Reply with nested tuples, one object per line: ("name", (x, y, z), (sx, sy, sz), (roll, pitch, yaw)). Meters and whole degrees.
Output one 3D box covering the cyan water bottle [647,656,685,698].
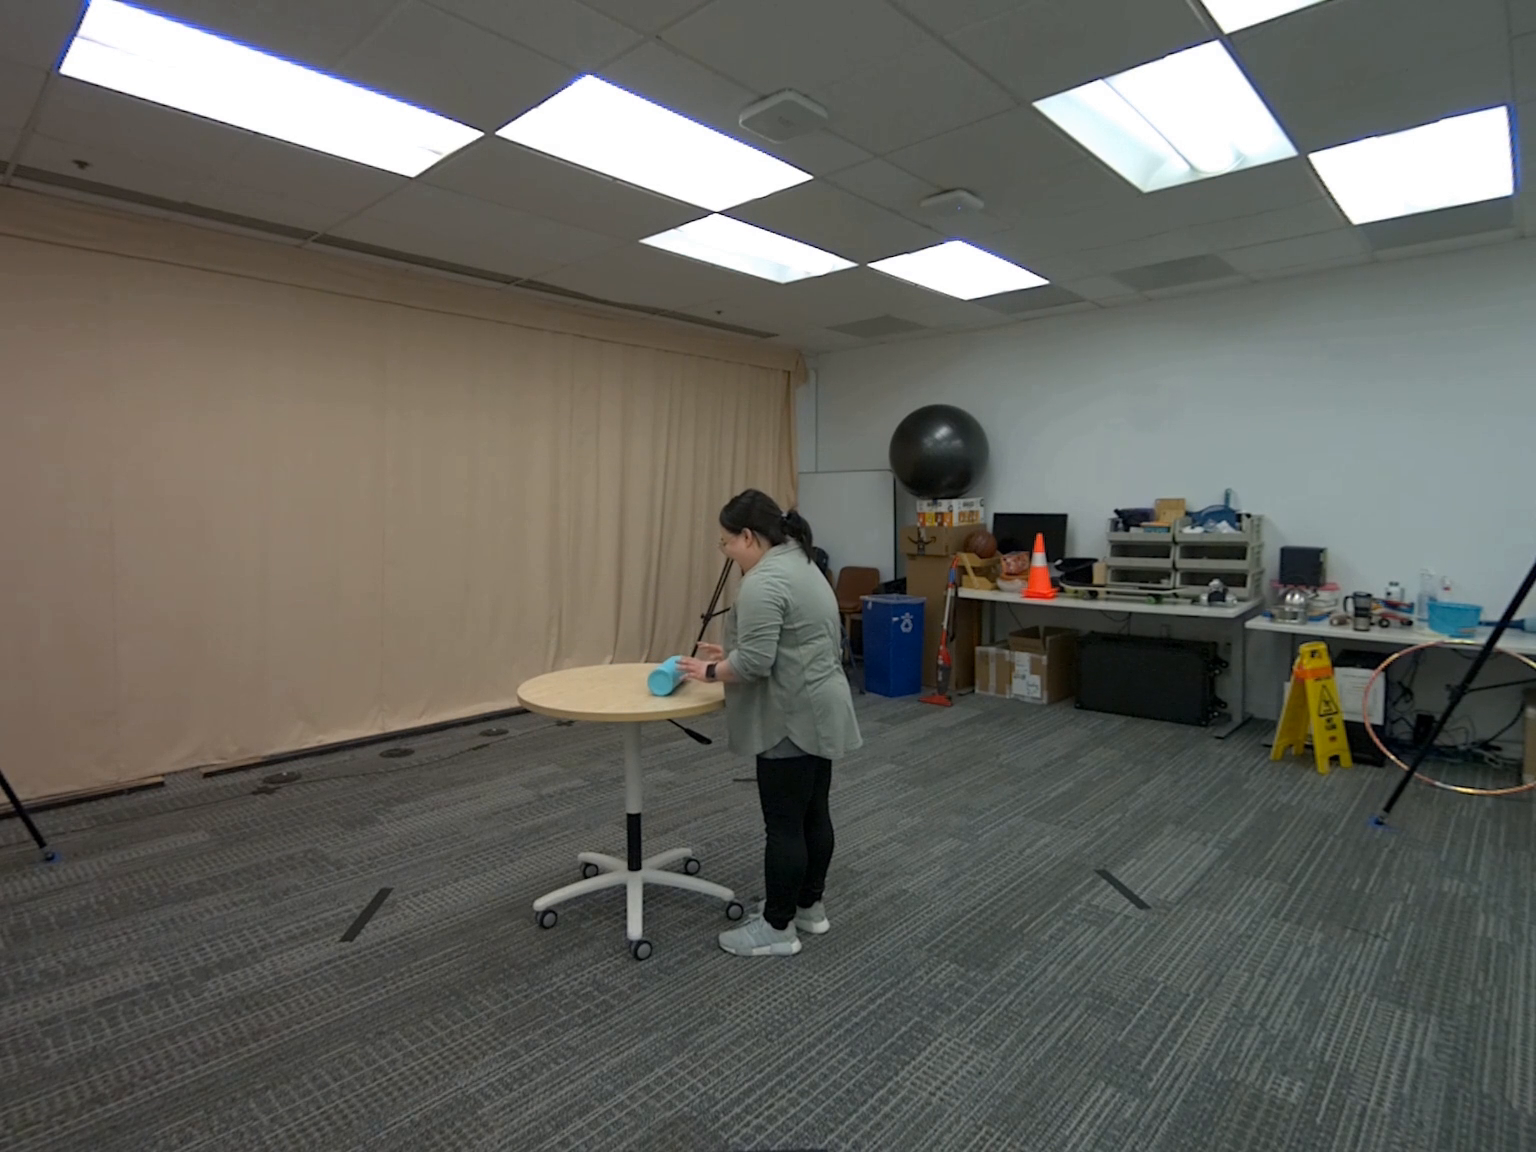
("cyan water bottle", (-0.325, 0.333, 2.833), (0.093, 0.092, 0.281), (1, 5, 9))
